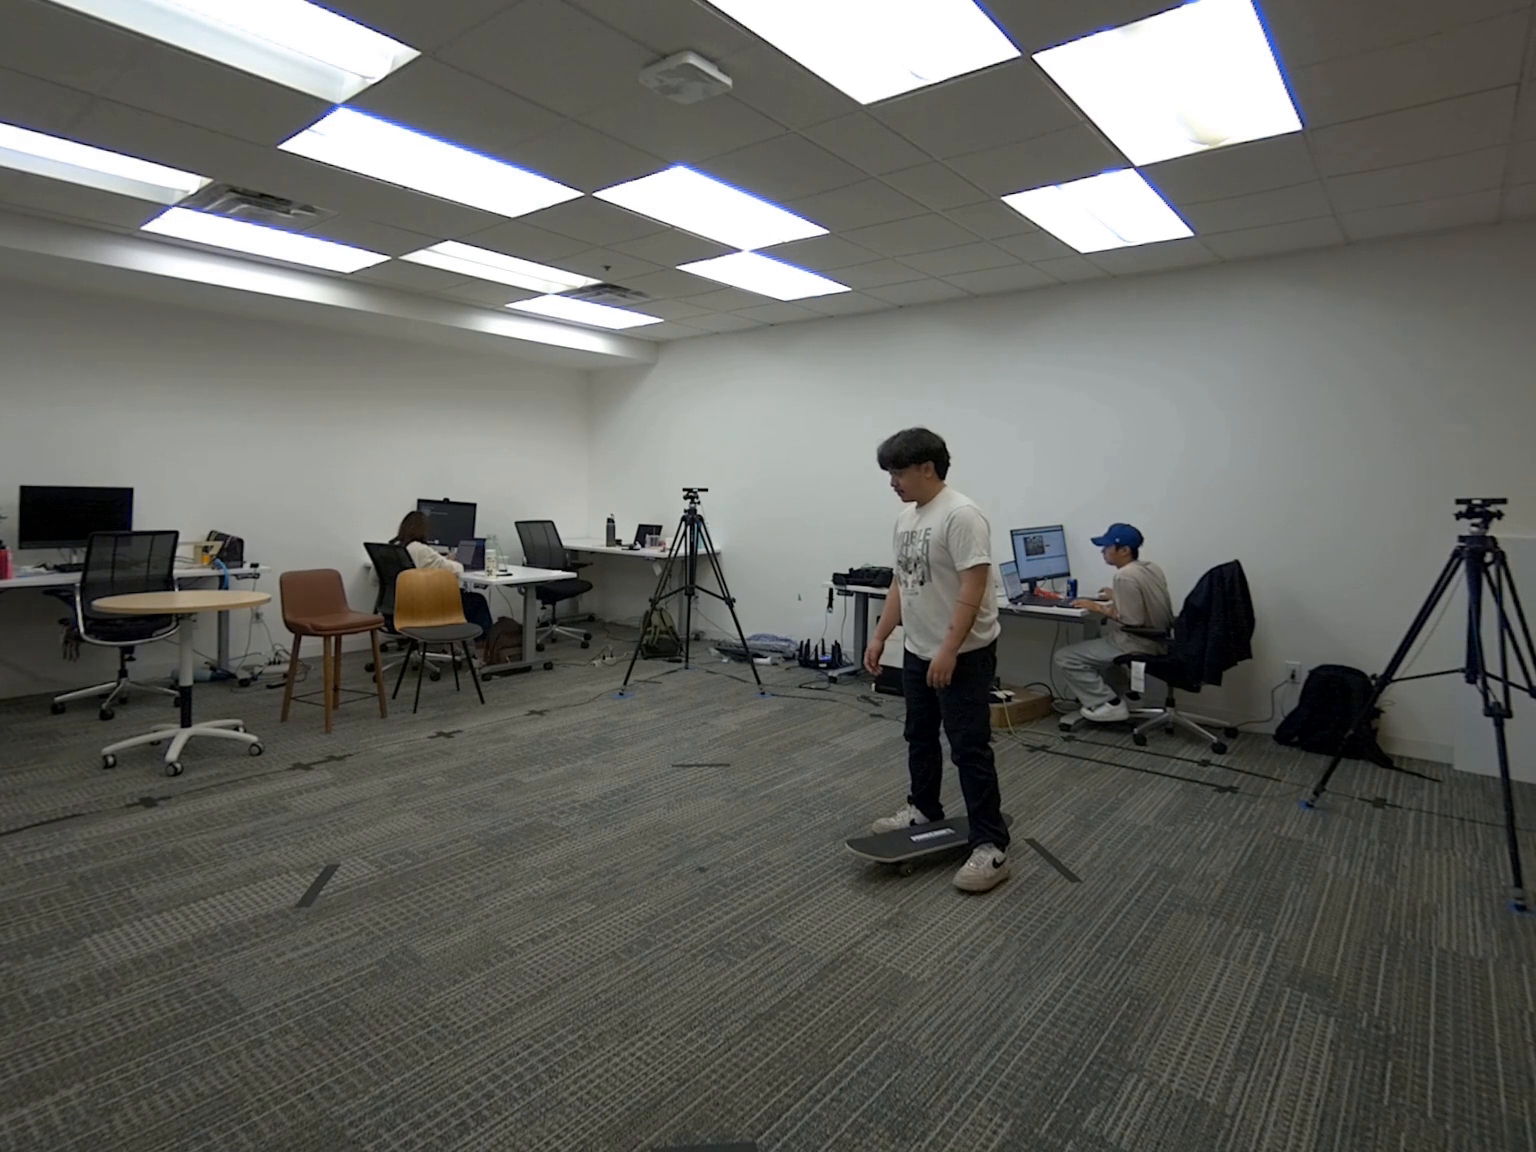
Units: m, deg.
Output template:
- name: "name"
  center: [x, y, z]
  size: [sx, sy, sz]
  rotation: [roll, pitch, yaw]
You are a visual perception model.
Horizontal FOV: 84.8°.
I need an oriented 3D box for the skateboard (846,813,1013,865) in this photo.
- name: "skateboard"
  center: [0.626, 1.019, 3.257]
  size: [0.765, 0.110, 0.199]
  rotation: [-2, 6, -29]
